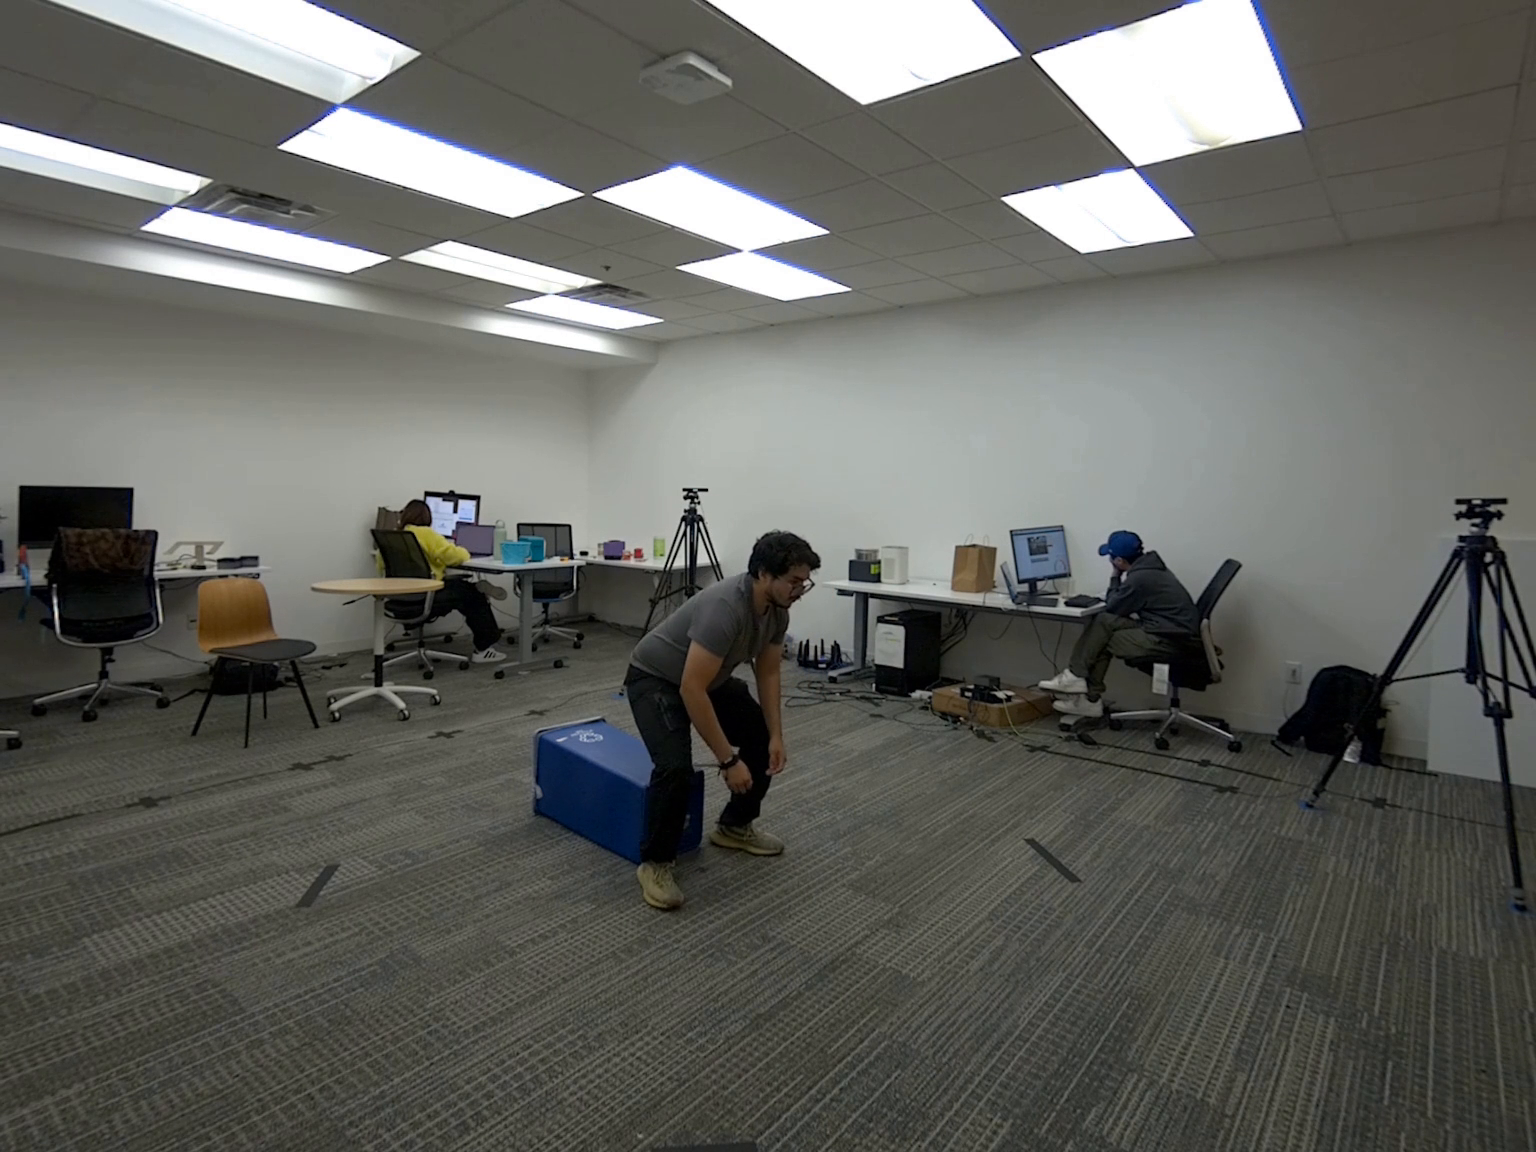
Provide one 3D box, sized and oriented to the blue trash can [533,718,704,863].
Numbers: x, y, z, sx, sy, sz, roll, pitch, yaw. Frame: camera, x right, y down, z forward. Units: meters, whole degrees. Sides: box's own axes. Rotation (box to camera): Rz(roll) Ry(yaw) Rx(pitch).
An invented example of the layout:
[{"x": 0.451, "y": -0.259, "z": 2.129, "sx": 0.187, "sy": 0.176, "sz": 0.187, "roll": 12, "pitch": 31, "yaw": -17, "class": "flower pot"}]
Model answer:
[{"x": -0.625, "y": 0.854, "z": 3.455, "sx": 0.739, "sy": 0.372, "sz": 0.366, "roll": 8, "pitch": 8, "yaw": 44, "class": "blue trash can"}]
